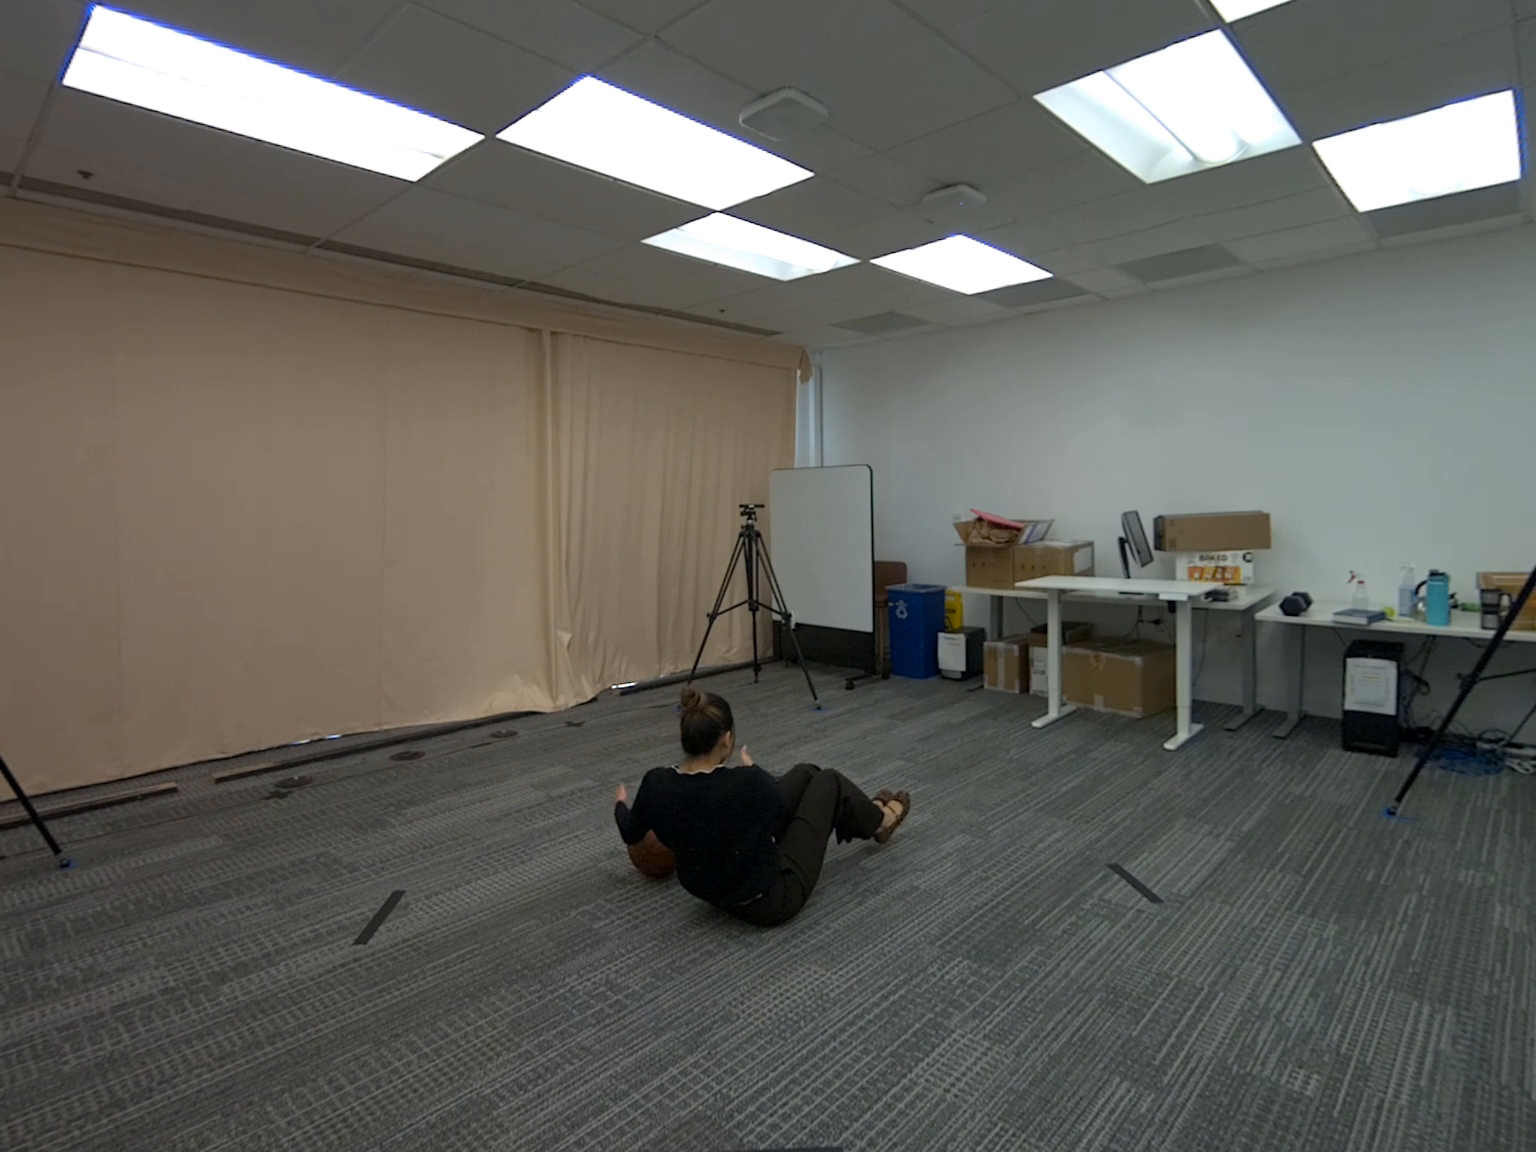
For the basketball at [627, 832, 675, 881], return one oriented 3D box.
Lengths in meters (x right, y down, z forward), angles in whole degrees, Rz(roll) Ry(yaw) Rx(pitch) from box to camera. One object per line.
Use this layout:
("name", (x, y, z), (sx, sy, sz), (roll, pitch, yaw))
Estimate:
("basketball", (-0.414, 1.017, 3.191), (0.236, 0.235, 0.237), (-1, 4, -2))
